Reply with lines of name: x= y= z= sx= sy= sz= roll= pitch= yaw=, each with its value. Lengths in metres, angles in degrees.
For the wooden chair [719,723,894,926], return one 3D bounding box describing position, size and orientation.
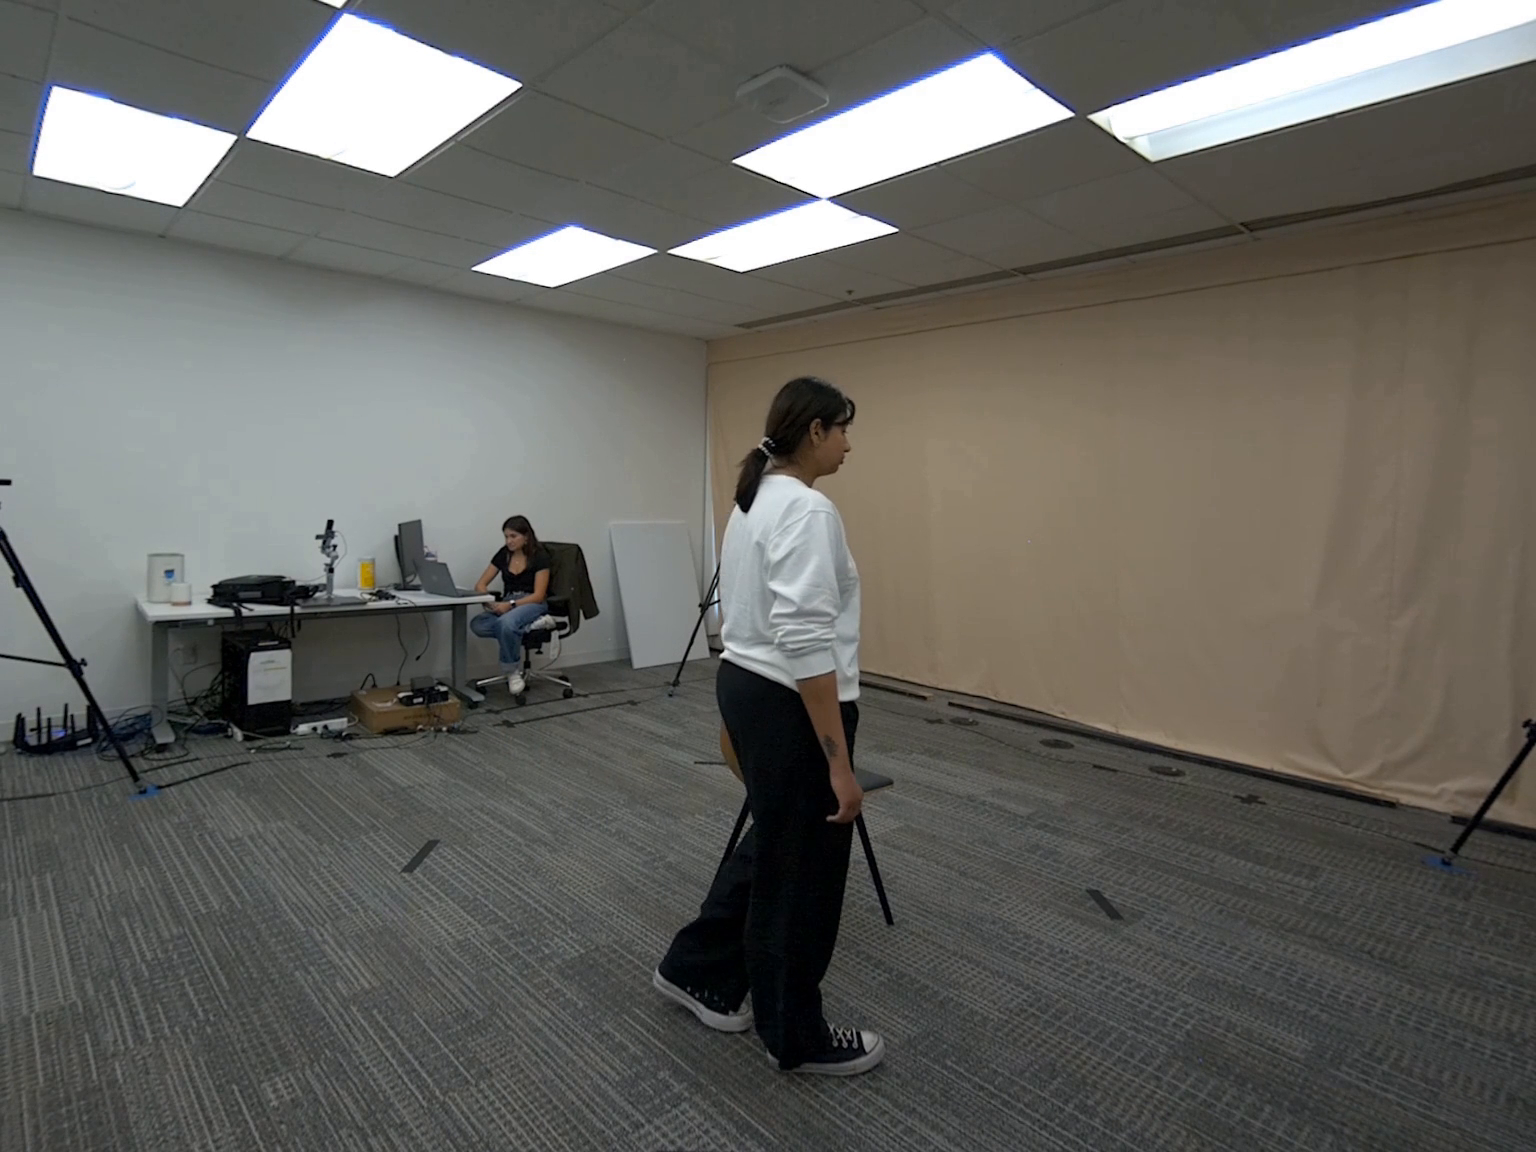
wooden chair: x=0.109 y=0.717 z=2.796 sx=0.513 sy=0.873 sz=0.490 roll=-7 pitch=7 yaw=-37
